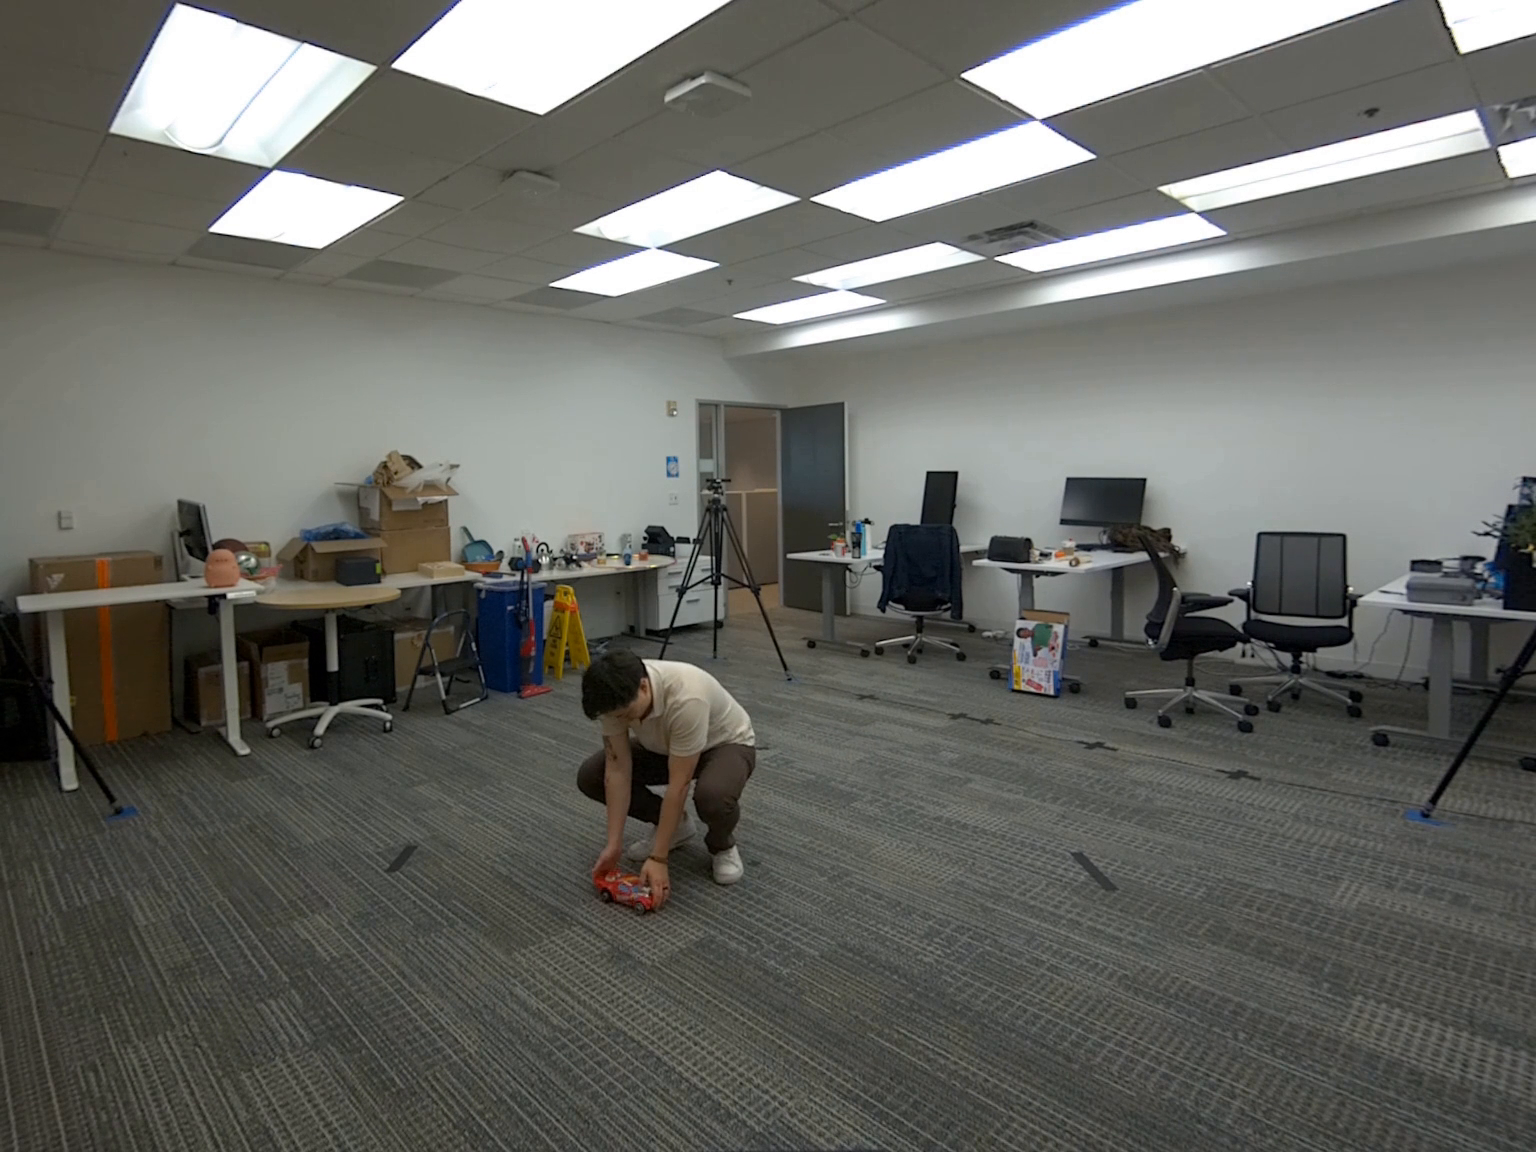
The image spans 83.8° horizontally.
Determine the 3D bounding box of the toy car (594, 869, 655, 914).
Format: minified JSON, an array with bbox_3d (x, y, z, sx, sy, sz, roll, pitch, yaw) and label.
[{"bbox_3d":[-0.472,1.050,2.850,0.262,0.082,0.128,13,17,30],"label":"toy car"}]
